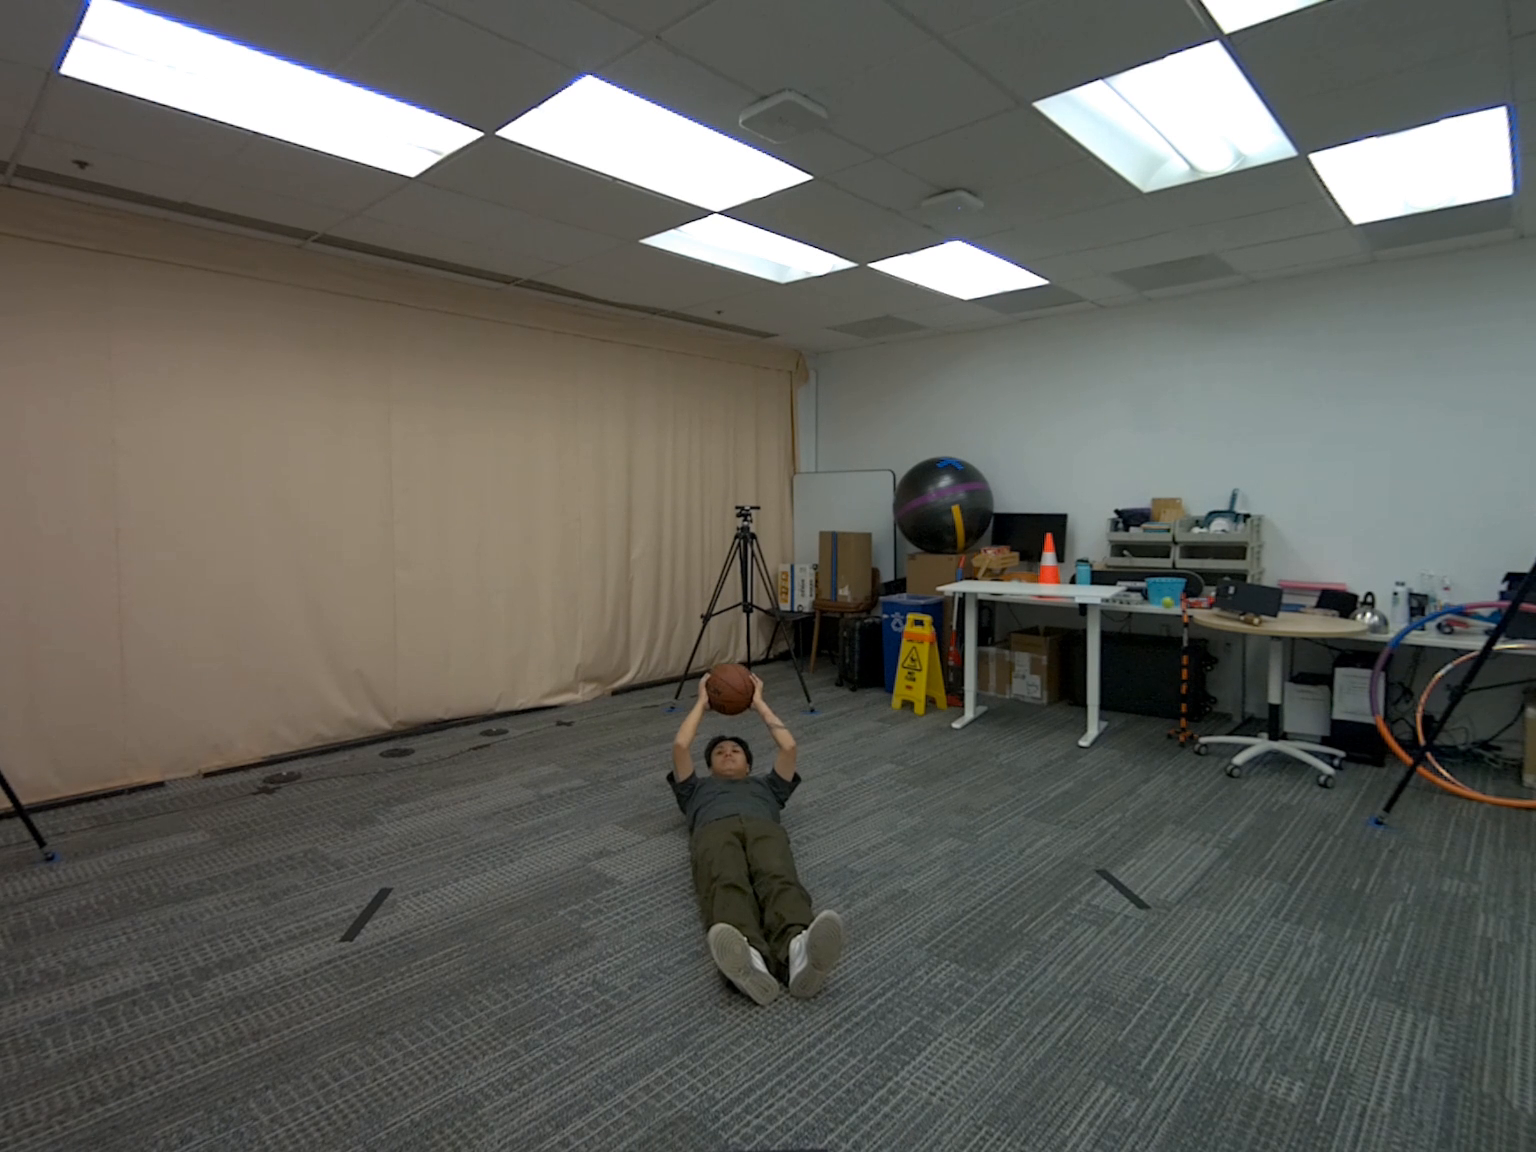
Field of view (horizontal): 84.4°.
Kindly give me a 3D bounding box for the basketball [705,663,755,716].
[{"bbox_3d":[-0.169,0.517,3.828,0.236,0.235,0.237,0,4,-2],"label":"basketball"}]
